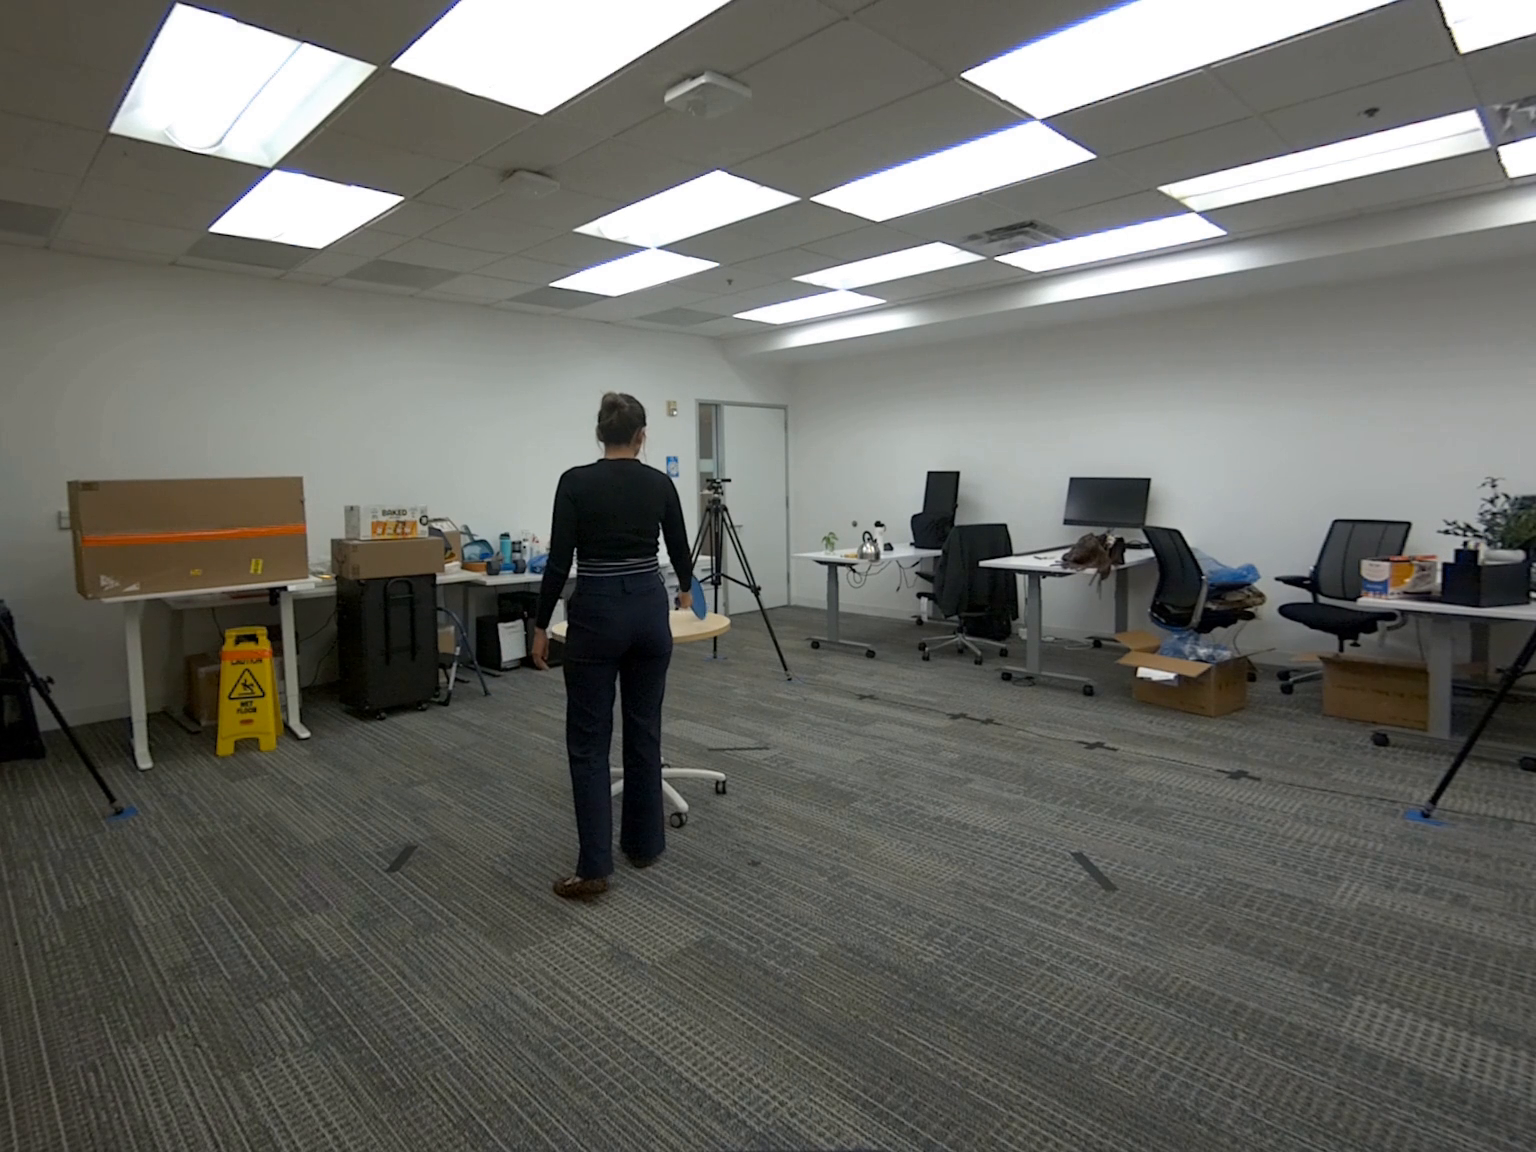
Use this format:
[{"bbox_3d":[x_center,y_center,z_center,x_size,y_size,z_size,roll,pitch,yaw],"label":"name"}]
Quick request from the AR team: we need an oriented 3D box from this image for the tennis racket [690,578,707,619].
[{"bbox_3d":[-0.334,0.091,3.667,0.032,0.214,0.429,-13,0,7],"label":"tennis racket"}]
